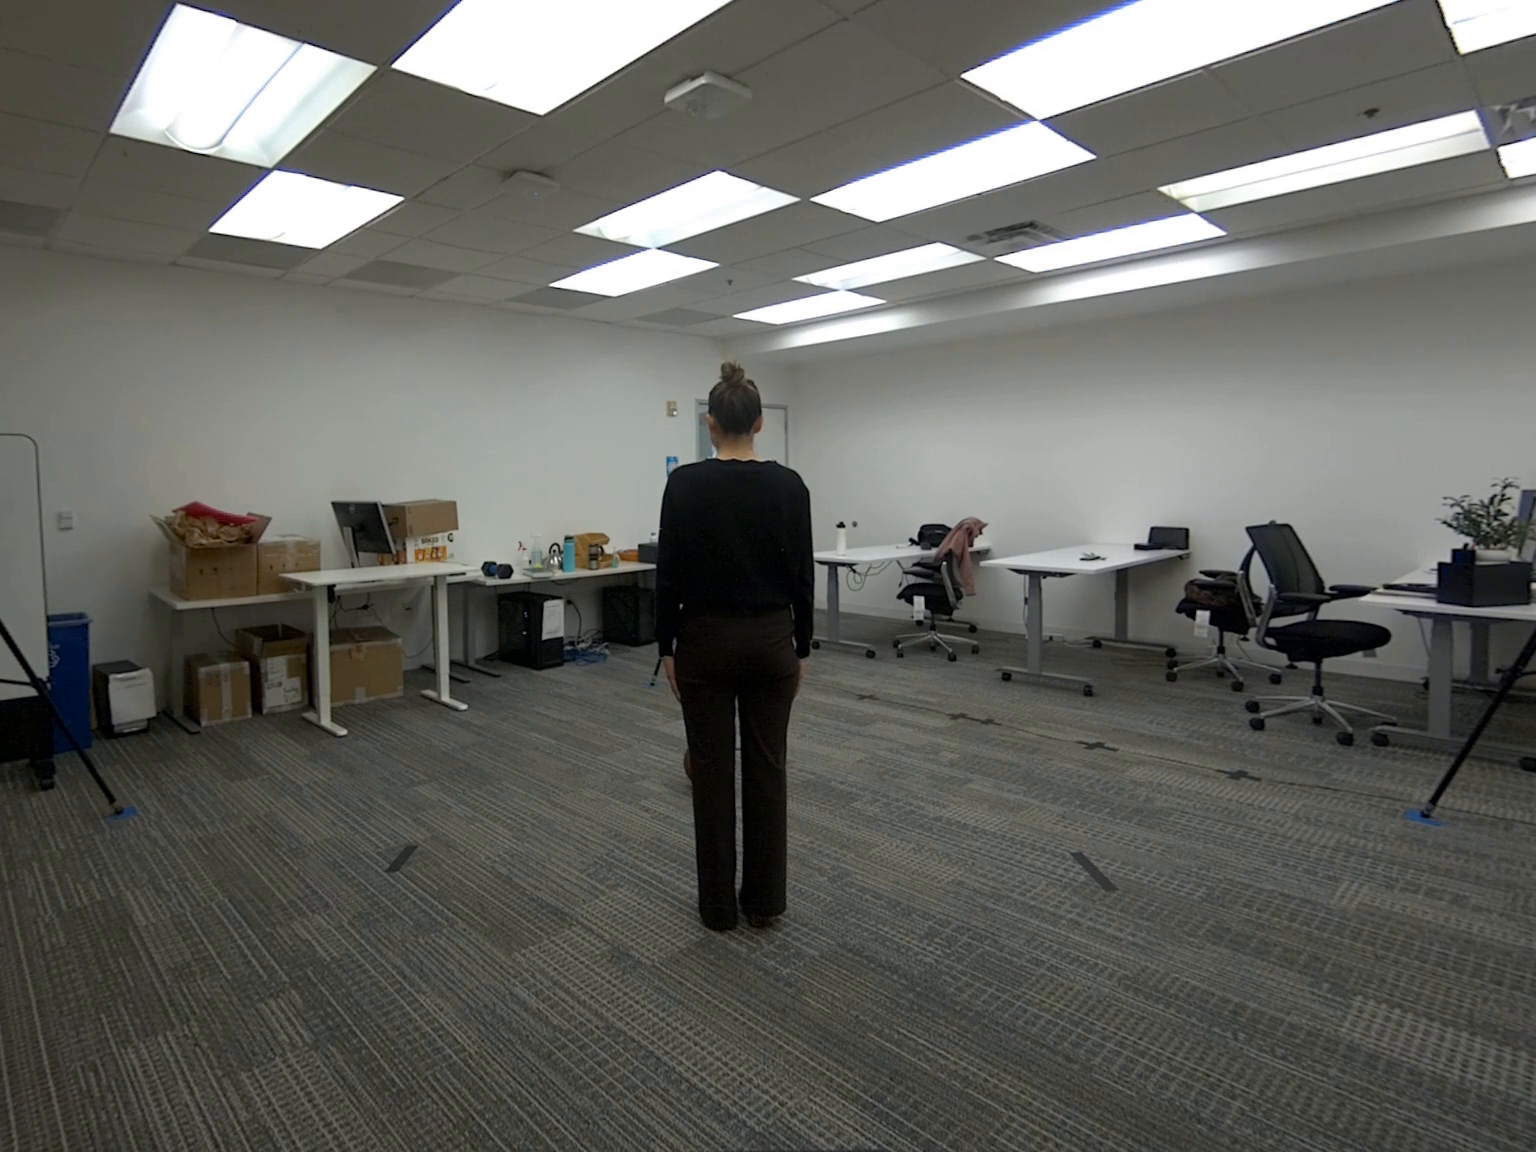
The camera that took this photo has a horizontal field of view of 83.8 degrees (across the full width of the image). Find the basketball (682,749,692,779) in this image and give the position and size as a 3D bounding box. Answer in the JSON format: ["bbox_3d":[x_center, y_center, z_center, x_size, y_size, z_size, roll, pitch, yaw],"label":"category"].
[{"bbox_3d":[-0.261,0.841,3.884,0.236,0.235,0.237,-1,5,-2],"label":"basketball"}]
